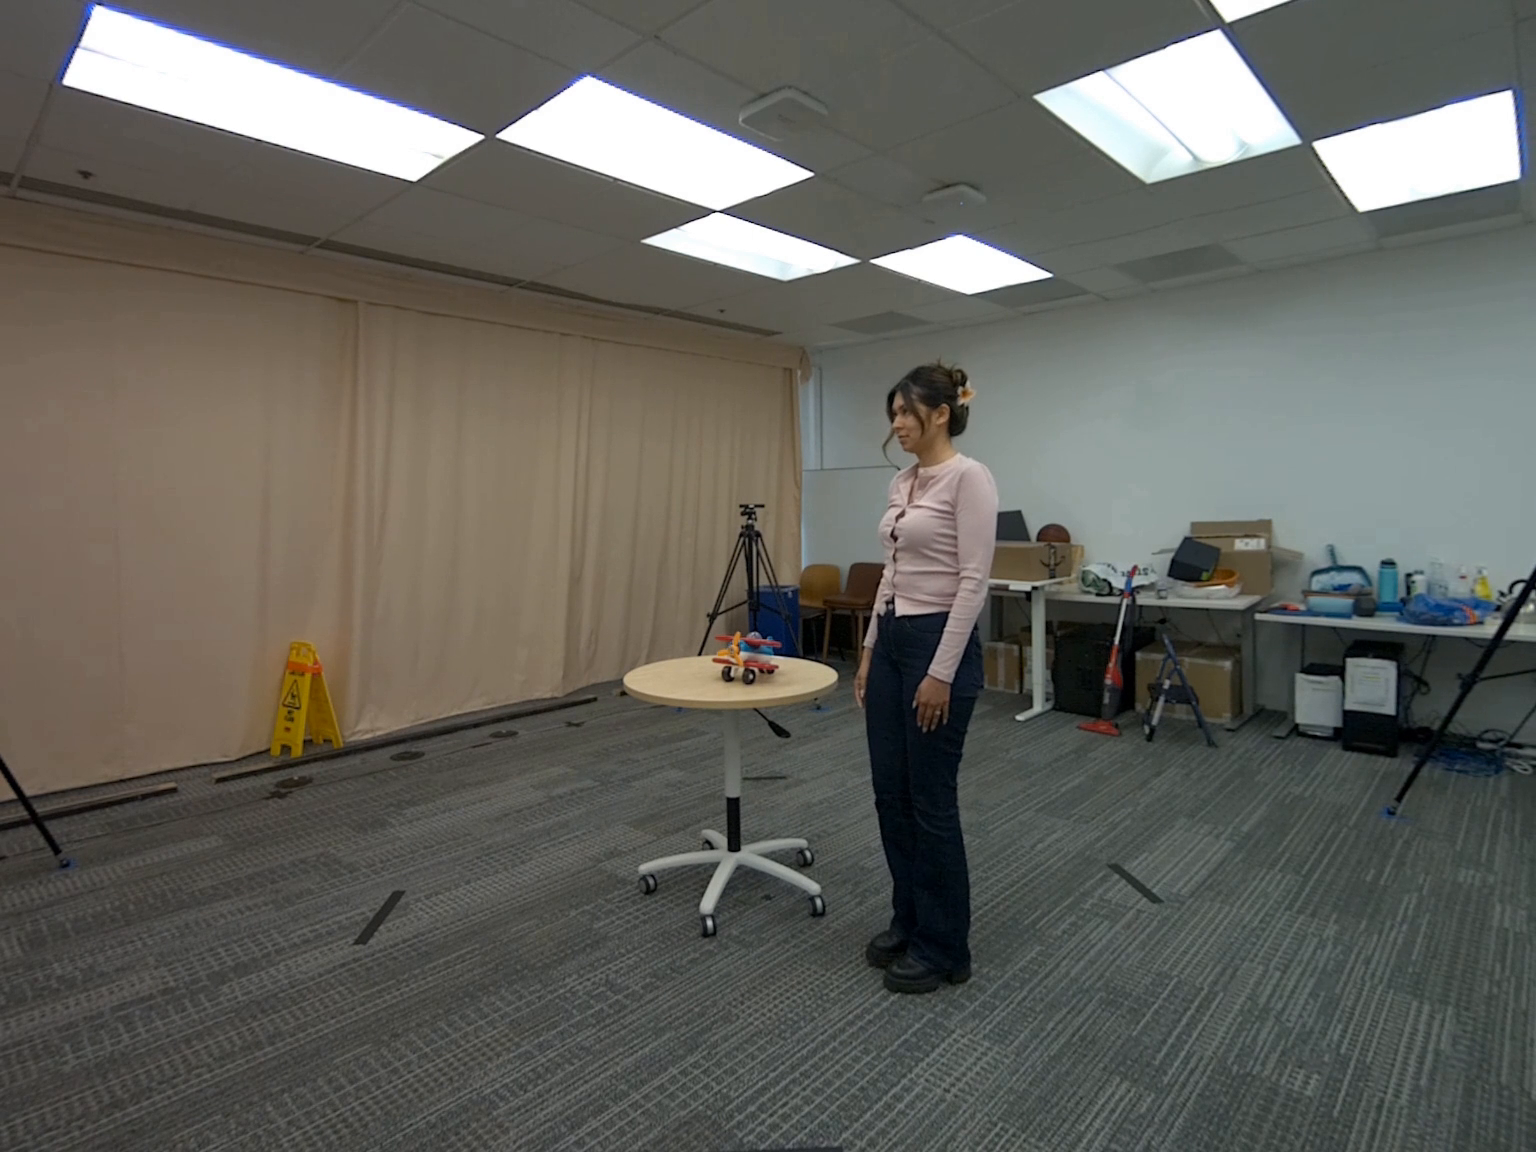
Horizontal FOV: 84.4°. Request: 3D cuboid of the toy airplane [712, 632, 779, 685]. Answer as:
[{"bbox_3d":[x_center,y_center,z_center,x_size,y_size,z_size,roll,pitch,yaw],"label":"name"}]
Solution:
[{"bbox_3d":[-0.074,0.282,2.969,0.253,0.156,0.258,-1,6,6],"label":"toy airplane"}]
